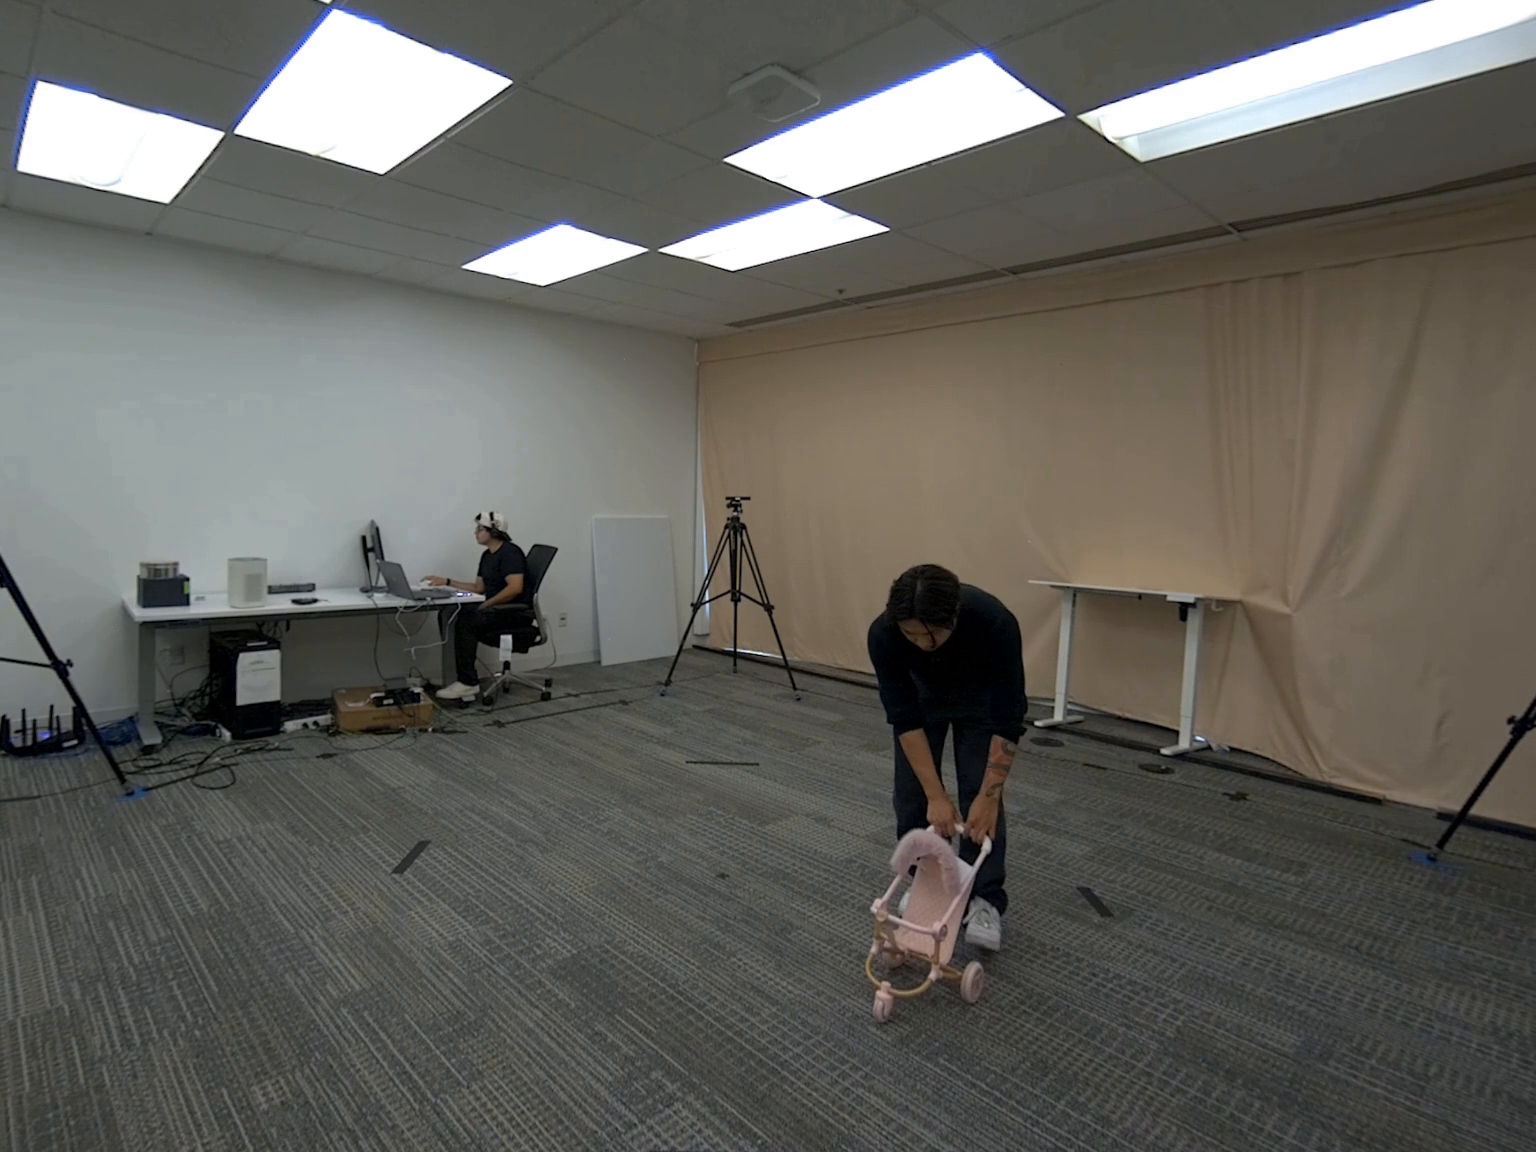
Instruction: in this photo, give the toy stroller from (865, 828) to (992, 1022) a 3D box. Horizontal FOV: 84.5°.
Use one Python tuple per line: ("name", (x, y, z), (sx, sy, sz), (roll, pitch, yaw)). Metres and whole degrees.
("toy stroller", (0.433, 0.968, 2.385), (0.331, 0.537, 0.288), (21, -12, -42))
